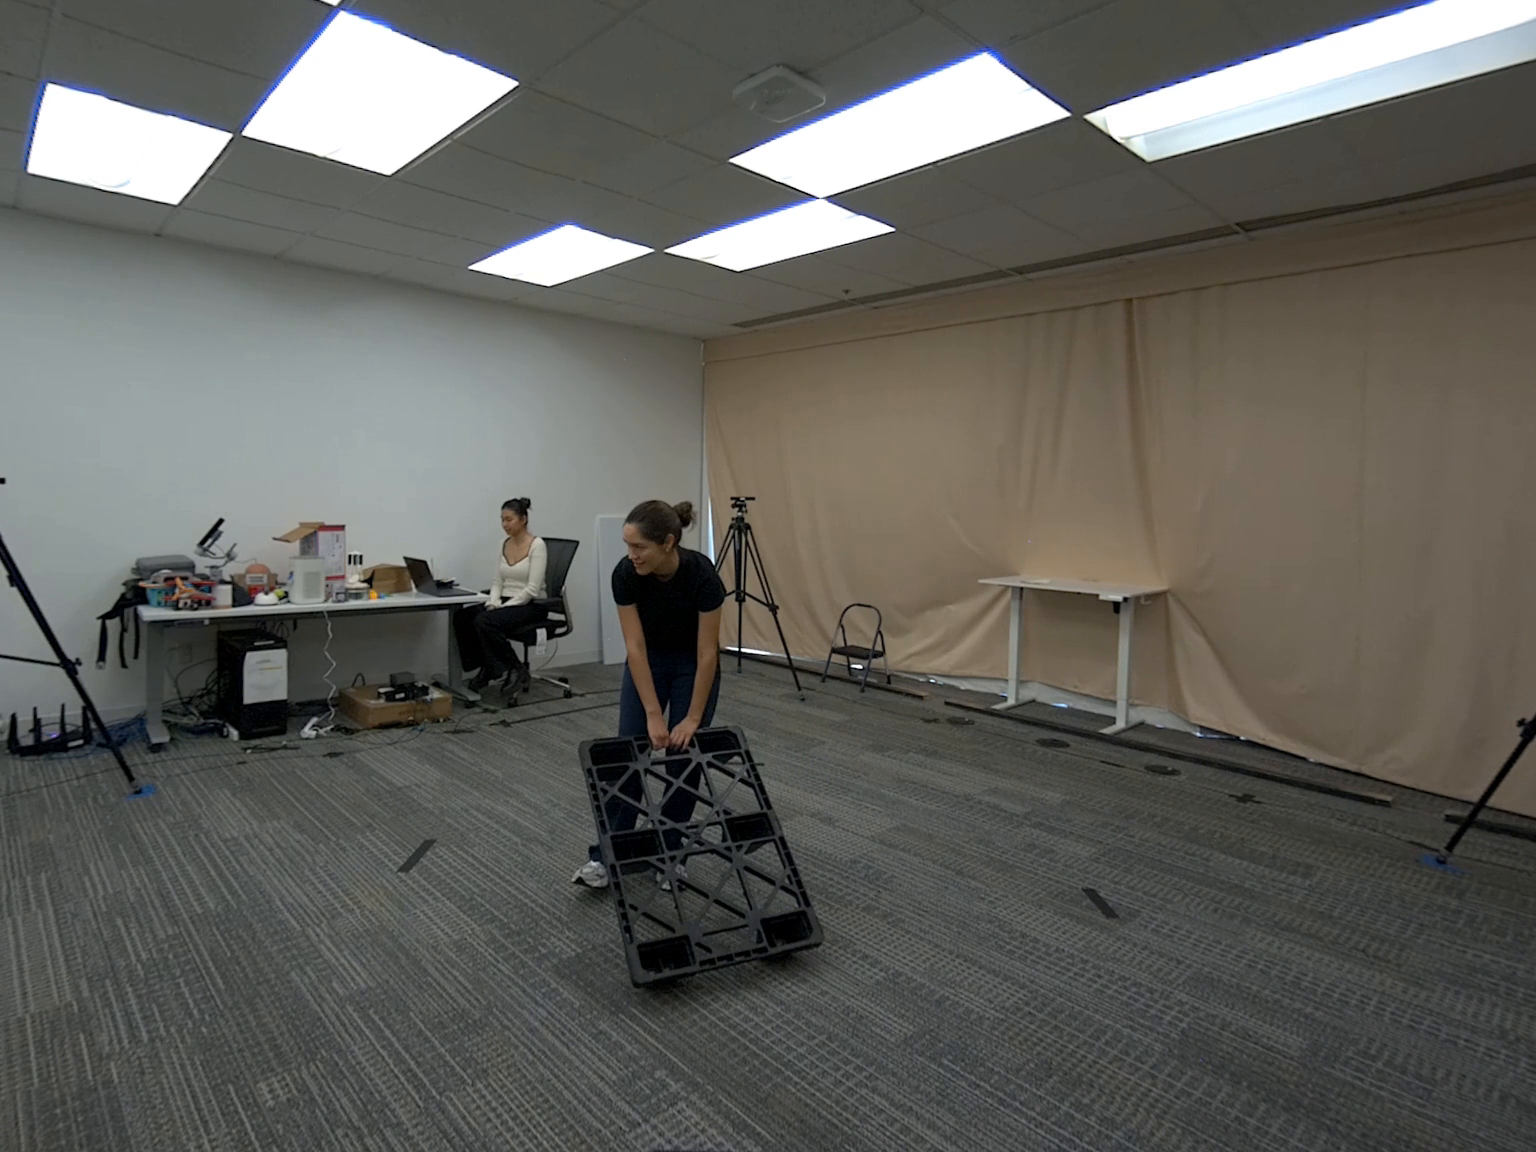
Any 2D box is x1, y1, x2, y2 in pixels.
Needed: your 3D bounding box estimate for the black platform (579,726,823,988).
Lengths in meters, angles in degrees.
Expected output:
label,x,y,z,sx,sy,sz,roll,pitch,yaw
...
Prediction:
label,x,y,z,sx,sy,sz,roll,pitch,yaw
black platform,-0.248,0.867,2.675,0.594,0.142,0.830,0,43,-26
